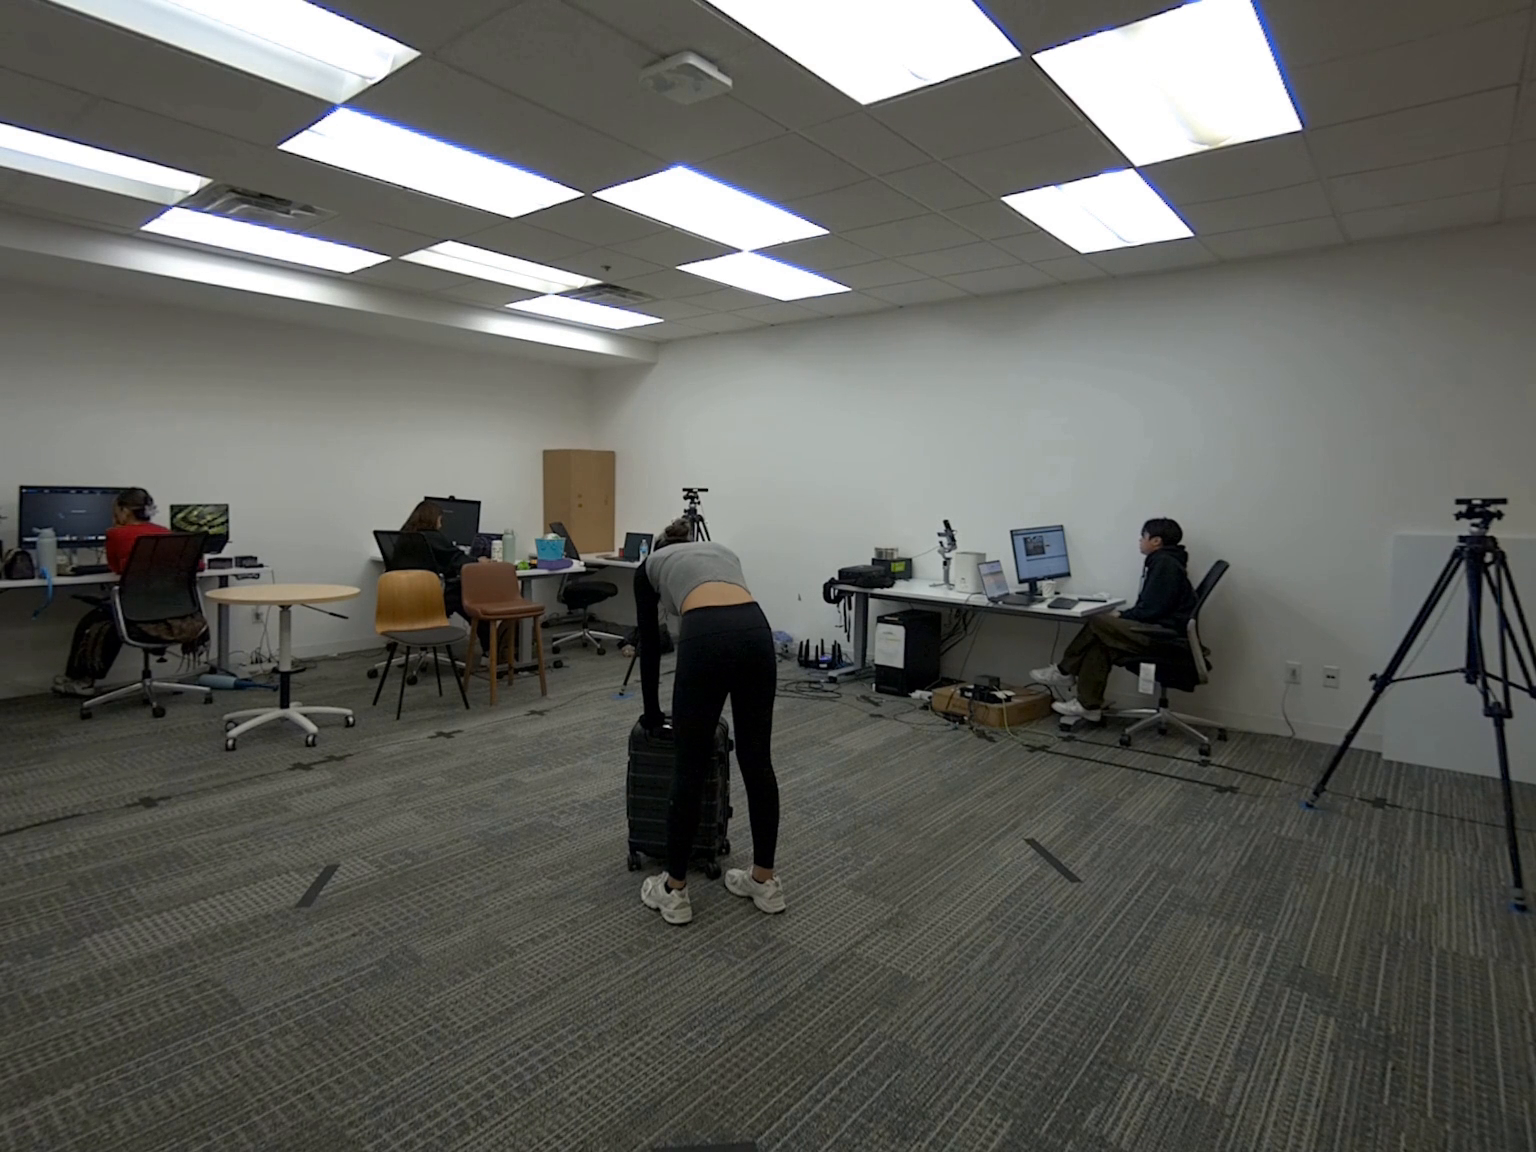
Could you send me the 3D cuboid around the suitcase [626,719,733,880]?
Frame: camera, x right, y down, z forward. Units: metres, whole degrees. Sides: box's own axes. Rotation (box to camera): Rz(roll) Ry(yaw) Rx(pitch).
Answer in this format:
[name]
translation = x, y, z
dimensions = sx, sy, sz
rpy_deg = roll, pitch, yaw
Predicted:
[suitcase]
translation = -0.344, 0.785, 3.184
dimensions = 0.380, 0.549, 0.245
rpy_deg = 1, 1, 12
